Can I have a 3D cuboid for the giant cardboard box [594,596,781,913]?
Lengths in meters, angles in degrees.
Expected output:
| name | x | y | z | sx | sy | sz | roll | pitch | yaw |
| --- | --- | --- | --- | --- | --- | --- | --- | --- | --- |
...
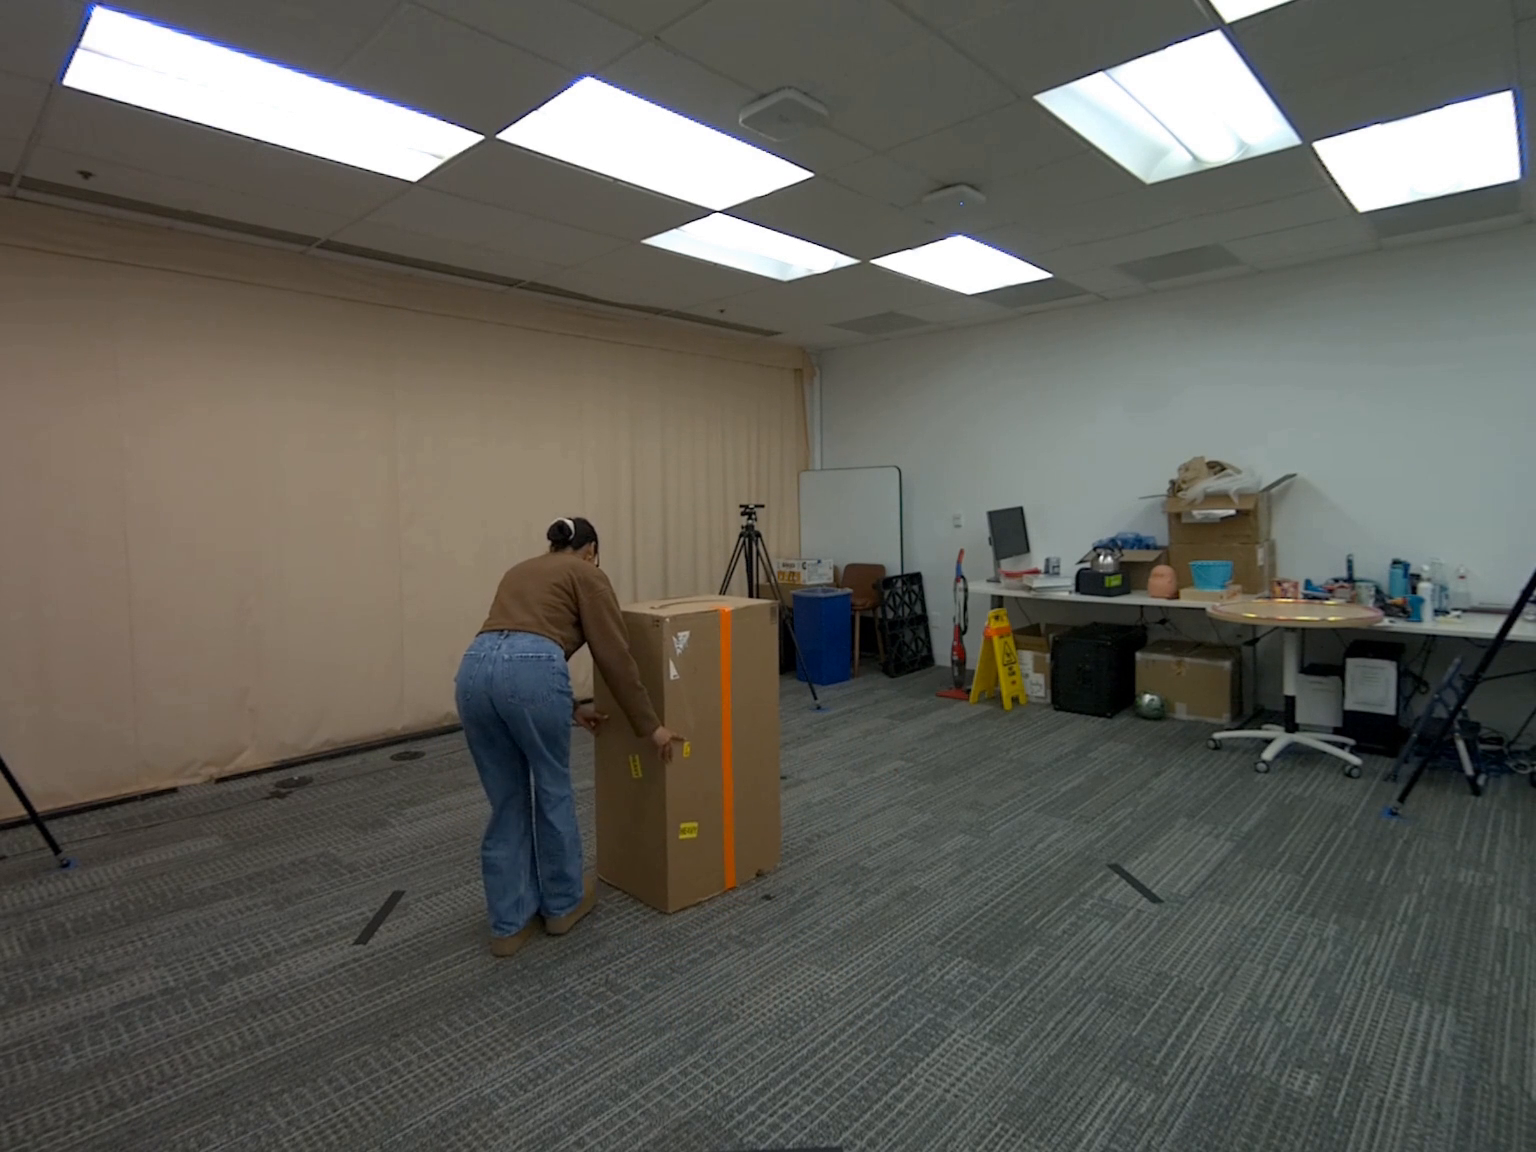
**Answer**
| name | x | y | z | sx | sy | sz | roll | pitch | yaw |
| --- | --- | --- | --- | --- | --- | --- | --- | --- | --- |
| giant cardboard box | -0.298 | 0.620 | 3.189 | 0.440 | 1.024 | 0.560 | 2 | 4 | 45 |
